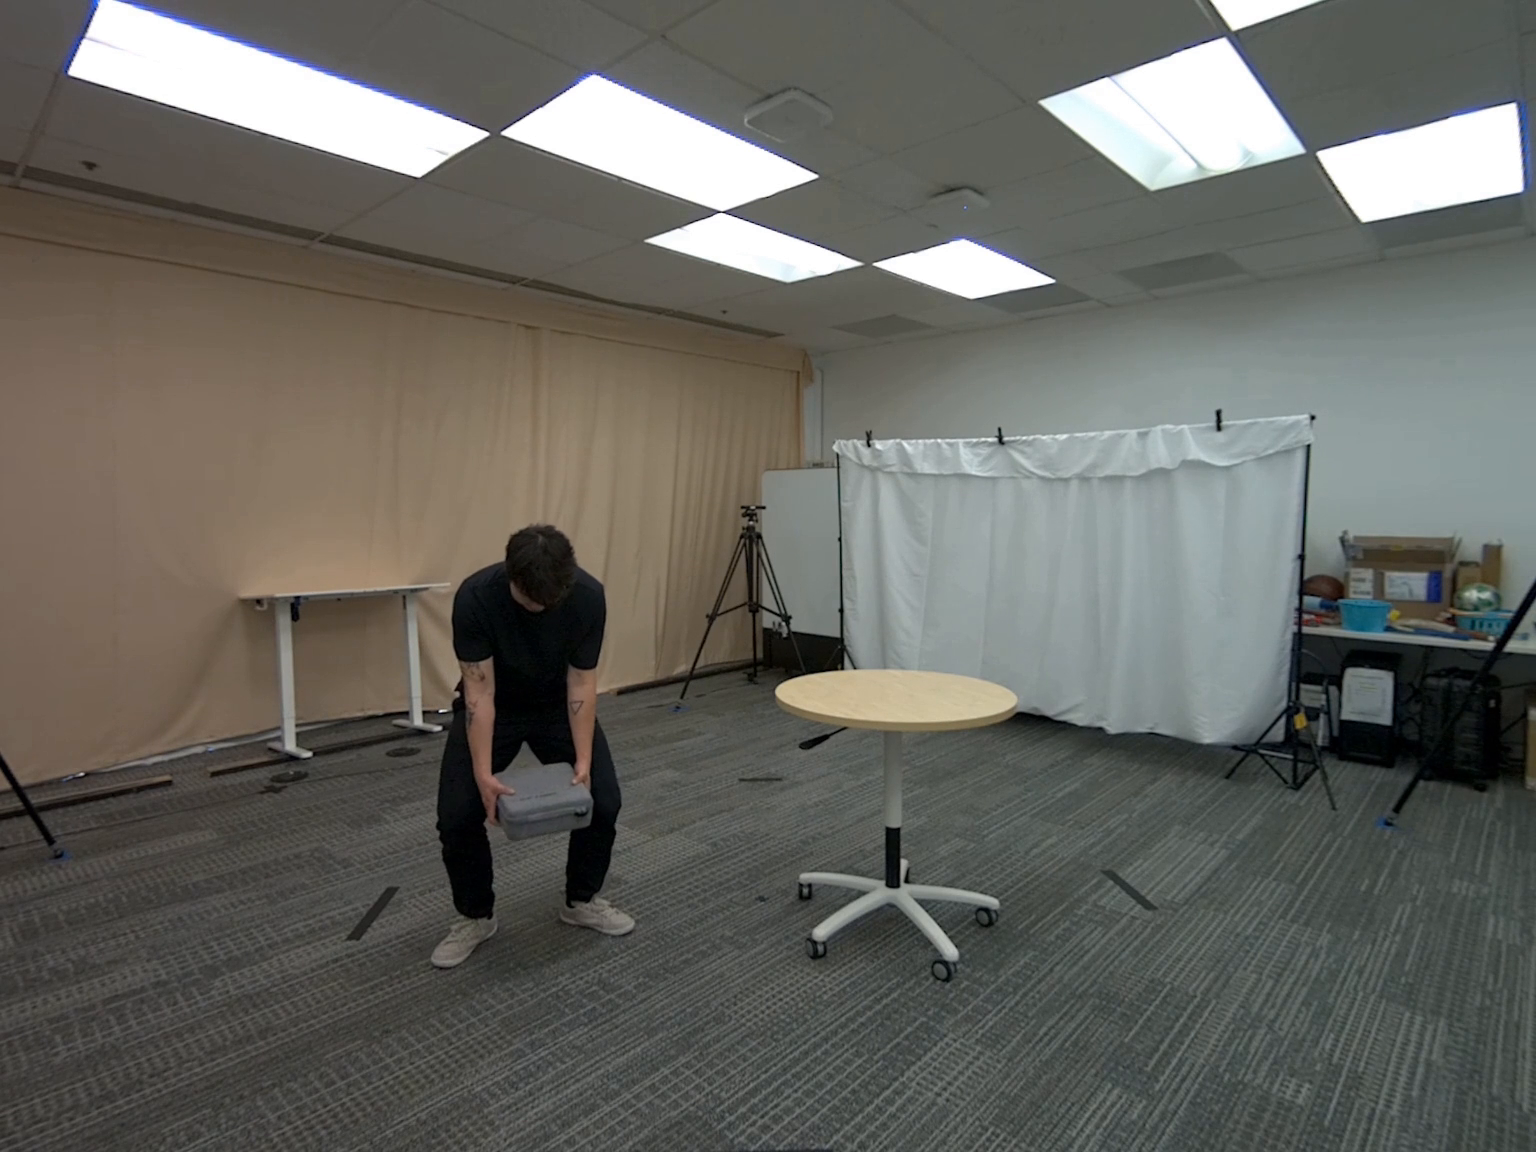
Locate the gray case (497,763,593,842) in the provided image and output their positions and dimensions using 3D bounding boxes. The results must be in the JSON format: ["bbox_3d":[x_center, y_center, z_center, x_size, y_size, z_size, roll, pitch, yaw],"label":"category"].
[{"bbox_3d":[-0.663,0.658,2.480,0.250,0.103,0.269,-5,15,-28],"label":"gray case"}]
